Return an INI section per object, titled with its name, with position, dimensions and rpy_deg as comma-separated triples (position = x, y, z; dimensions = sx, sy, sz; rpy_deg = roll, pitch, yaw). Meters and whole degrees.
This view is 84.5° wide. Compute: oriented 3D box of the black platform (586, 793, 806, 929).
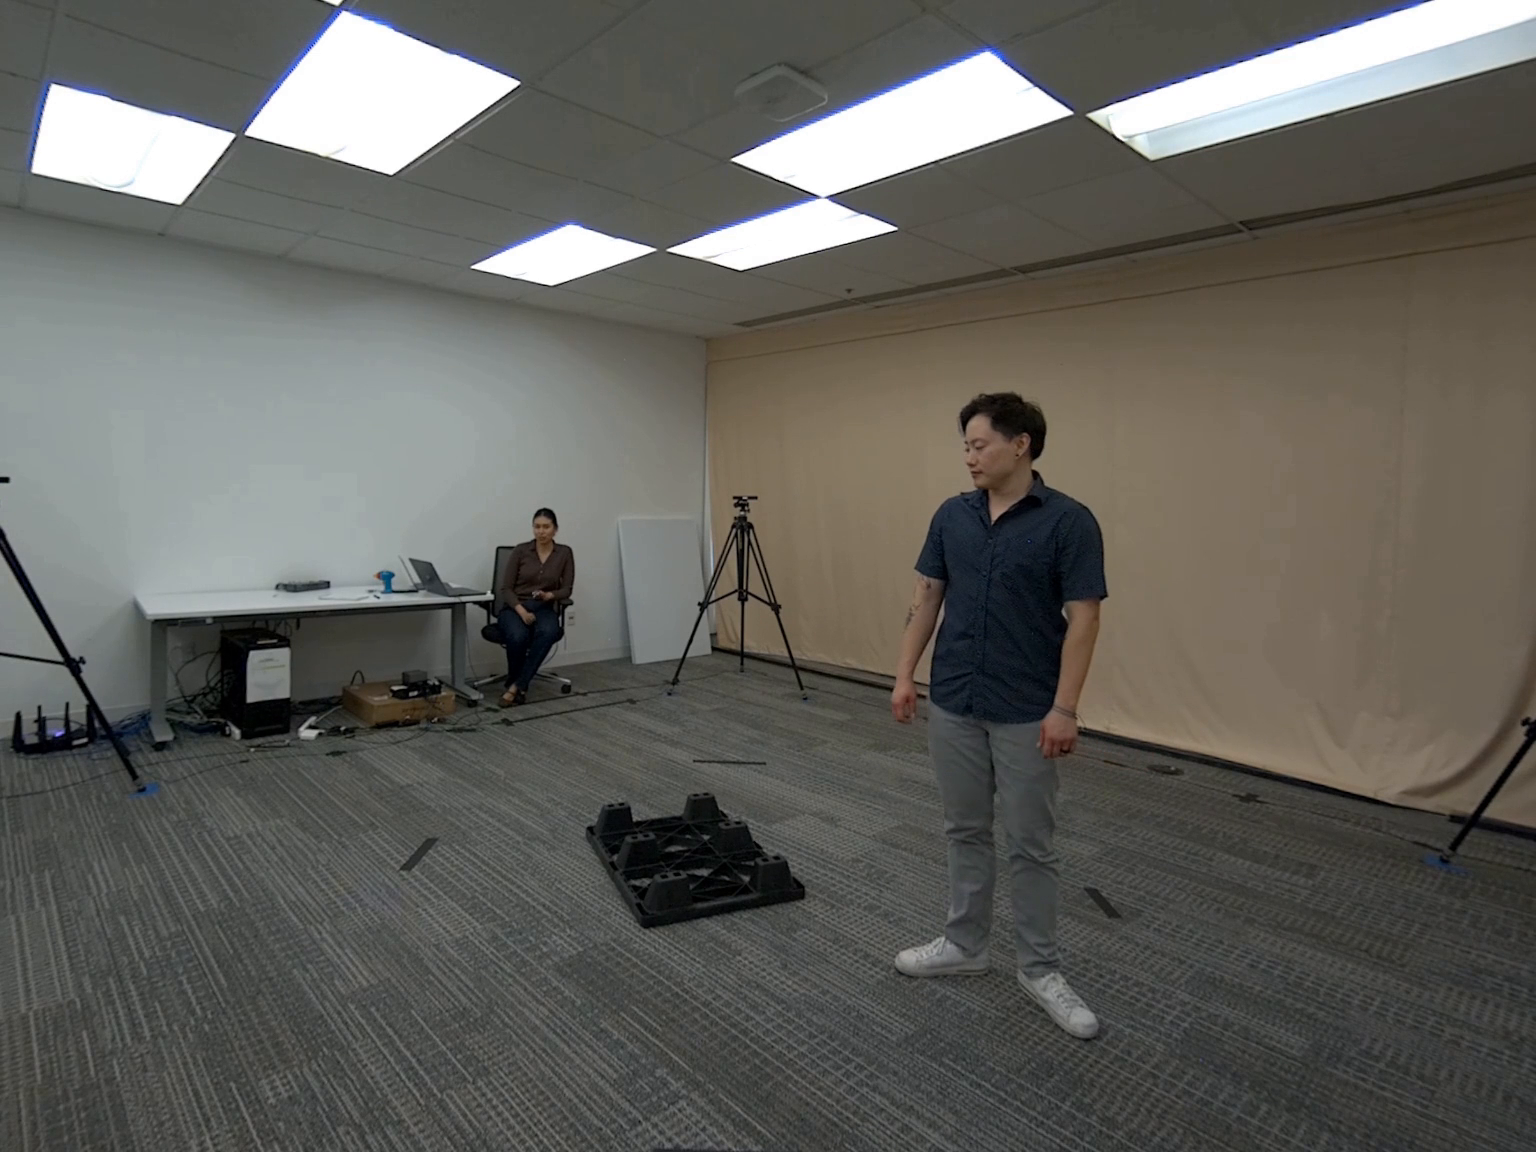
[black platform]
position = -0.303, 1.025, 3.170
dimensions = 0.594, 0.143, 0.822
rpy_deg = -1, 6, -25
